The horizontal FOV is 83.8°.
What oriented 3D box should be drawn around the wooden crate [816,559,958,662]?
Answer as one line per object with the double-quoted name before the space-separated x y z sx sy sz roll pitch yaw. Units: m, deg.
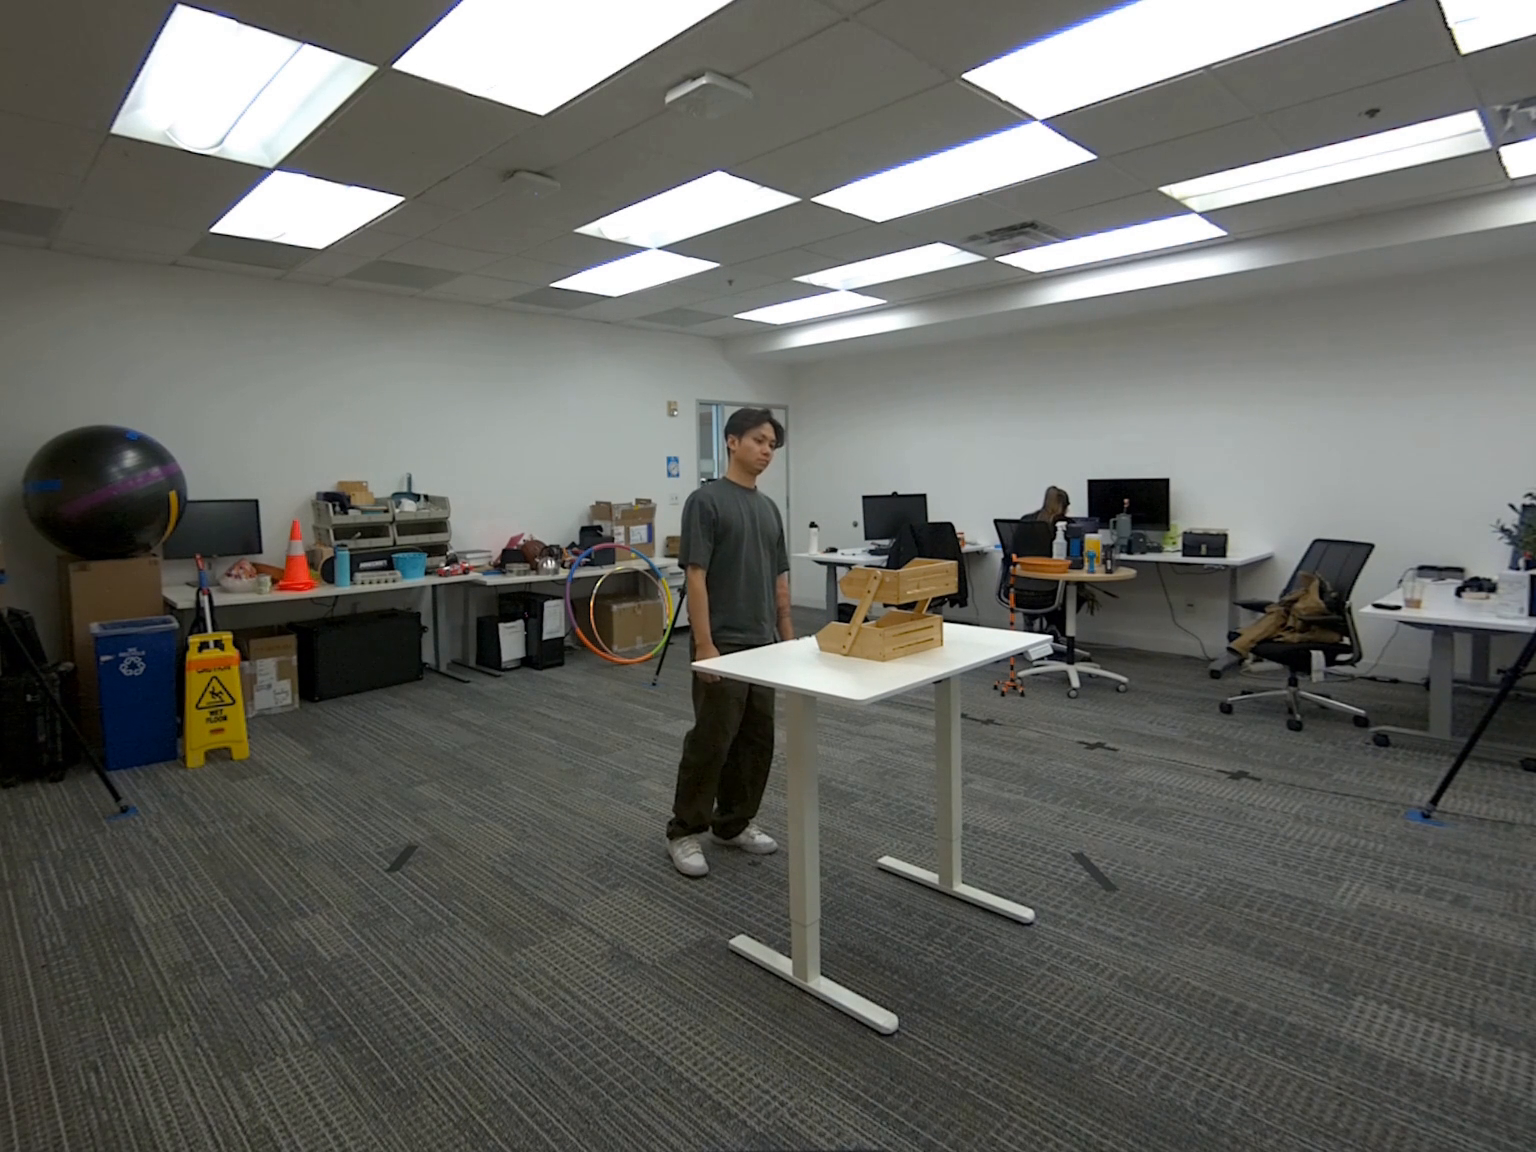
"wooden crate" 0.356 0.087 2.542 0.316 0.272 0.311 -7 8 -44
